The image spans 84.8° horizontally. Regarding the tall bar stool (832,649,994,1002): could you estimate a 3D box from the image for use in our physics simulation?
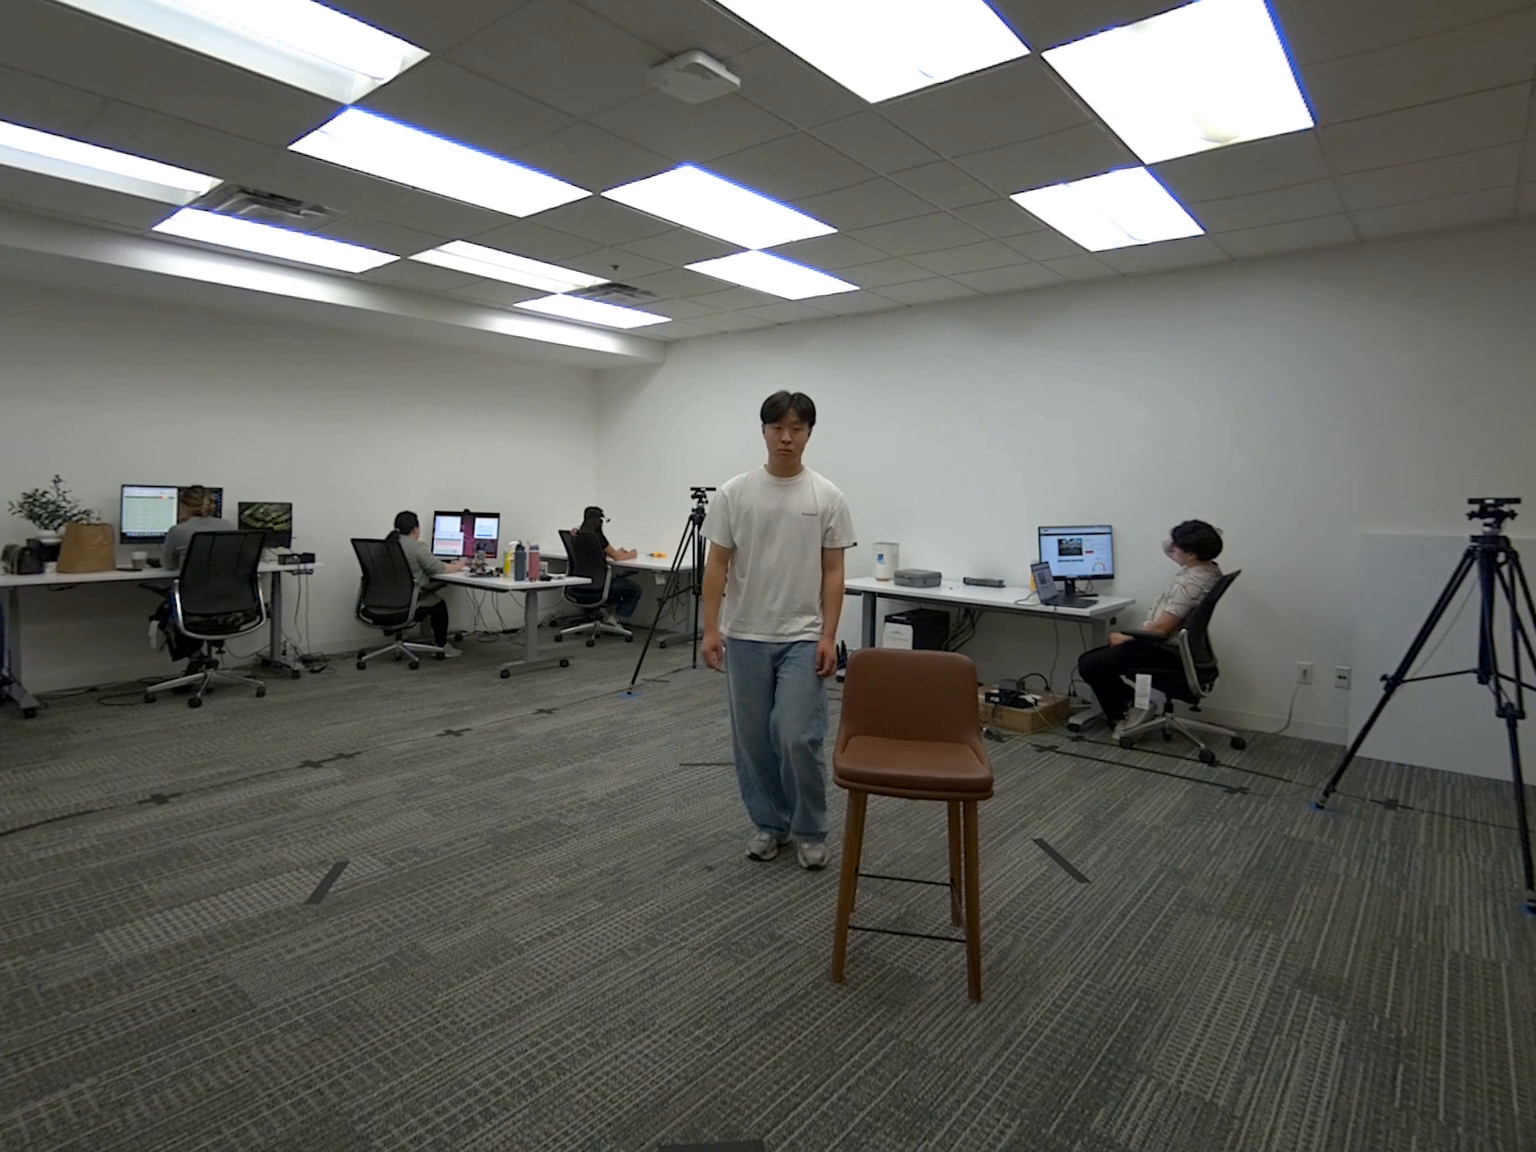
[{"bbox_3d":[0.427,0.698,2.568,0.462,0.889,0.462,3,1,10],"label":"tall bar stool"}]
